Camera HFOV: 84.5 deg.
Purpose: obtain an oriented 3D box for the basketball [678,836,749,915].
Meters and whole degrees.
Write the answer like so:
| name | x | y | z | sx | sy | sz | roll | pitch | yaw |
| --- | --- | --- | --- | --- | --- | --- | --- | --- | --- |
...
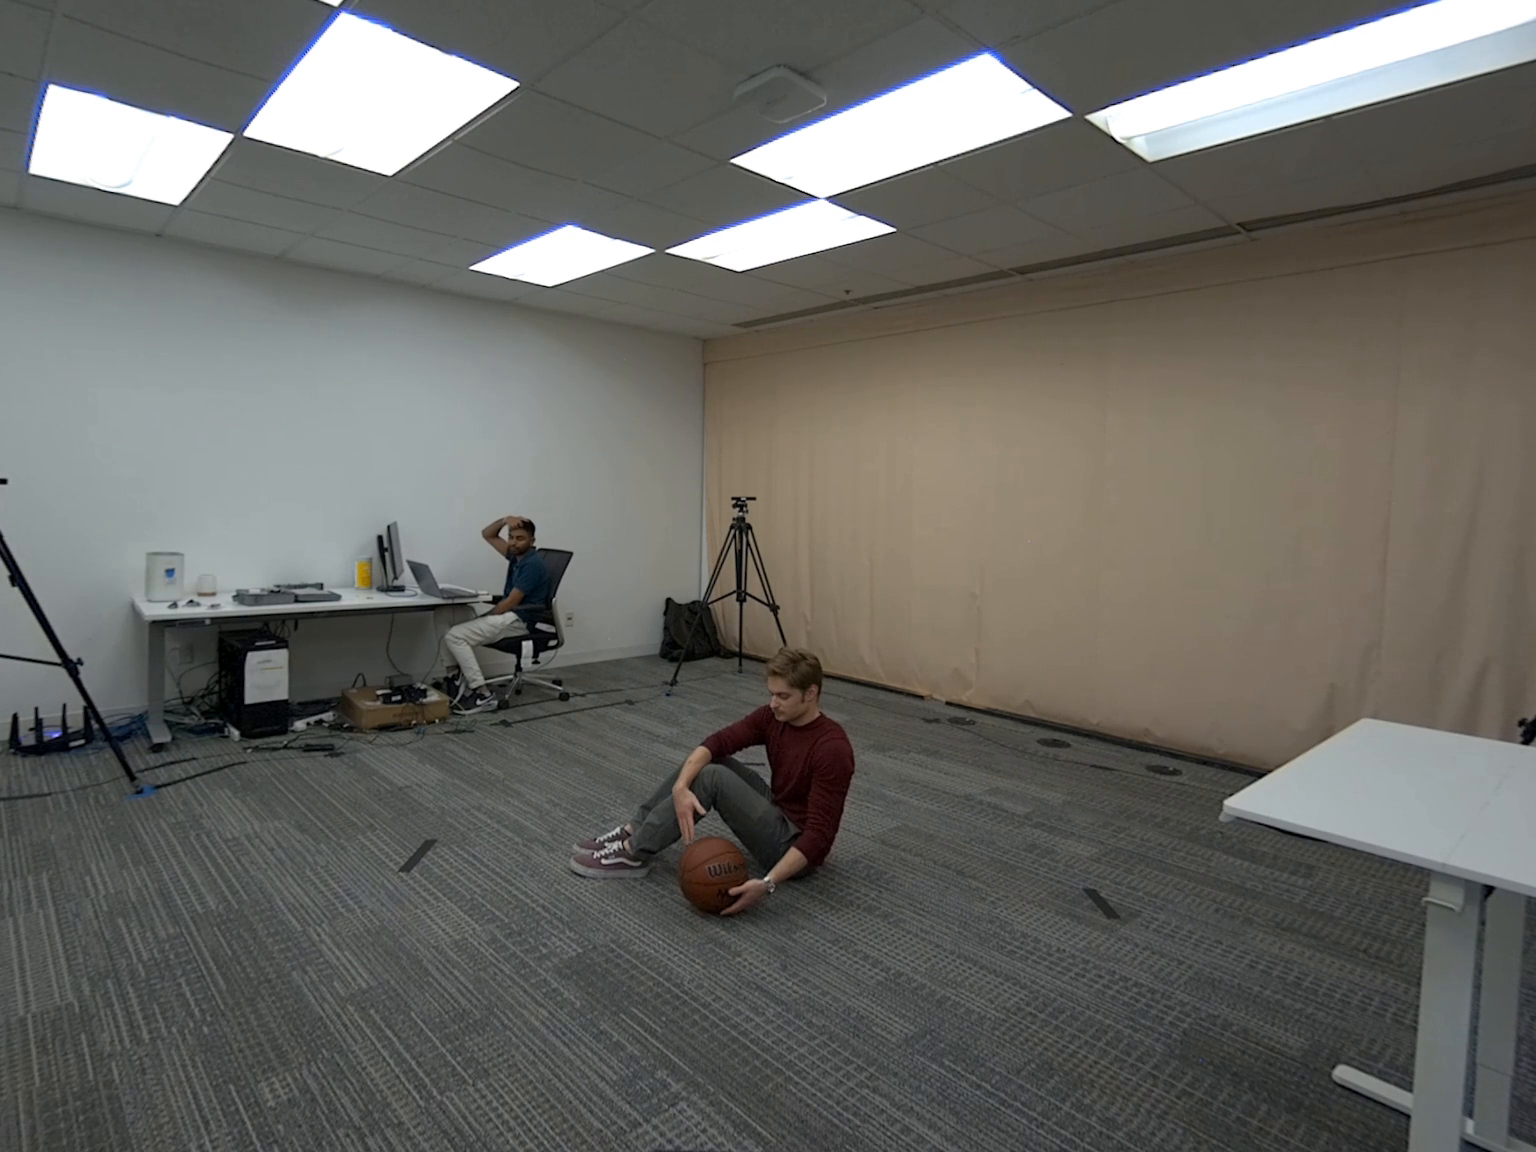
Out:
| name | x | y | z | sx | sy | sz | roll | pitch | yaw |
| --- | --- | --- | --- | --- | --- | --- | --- | --- | --- |
| basketball | -0.200 | 1.006 | 2.848 | 0.236 | 0.235 | 0.237 | 1 | 4 | -1 |
